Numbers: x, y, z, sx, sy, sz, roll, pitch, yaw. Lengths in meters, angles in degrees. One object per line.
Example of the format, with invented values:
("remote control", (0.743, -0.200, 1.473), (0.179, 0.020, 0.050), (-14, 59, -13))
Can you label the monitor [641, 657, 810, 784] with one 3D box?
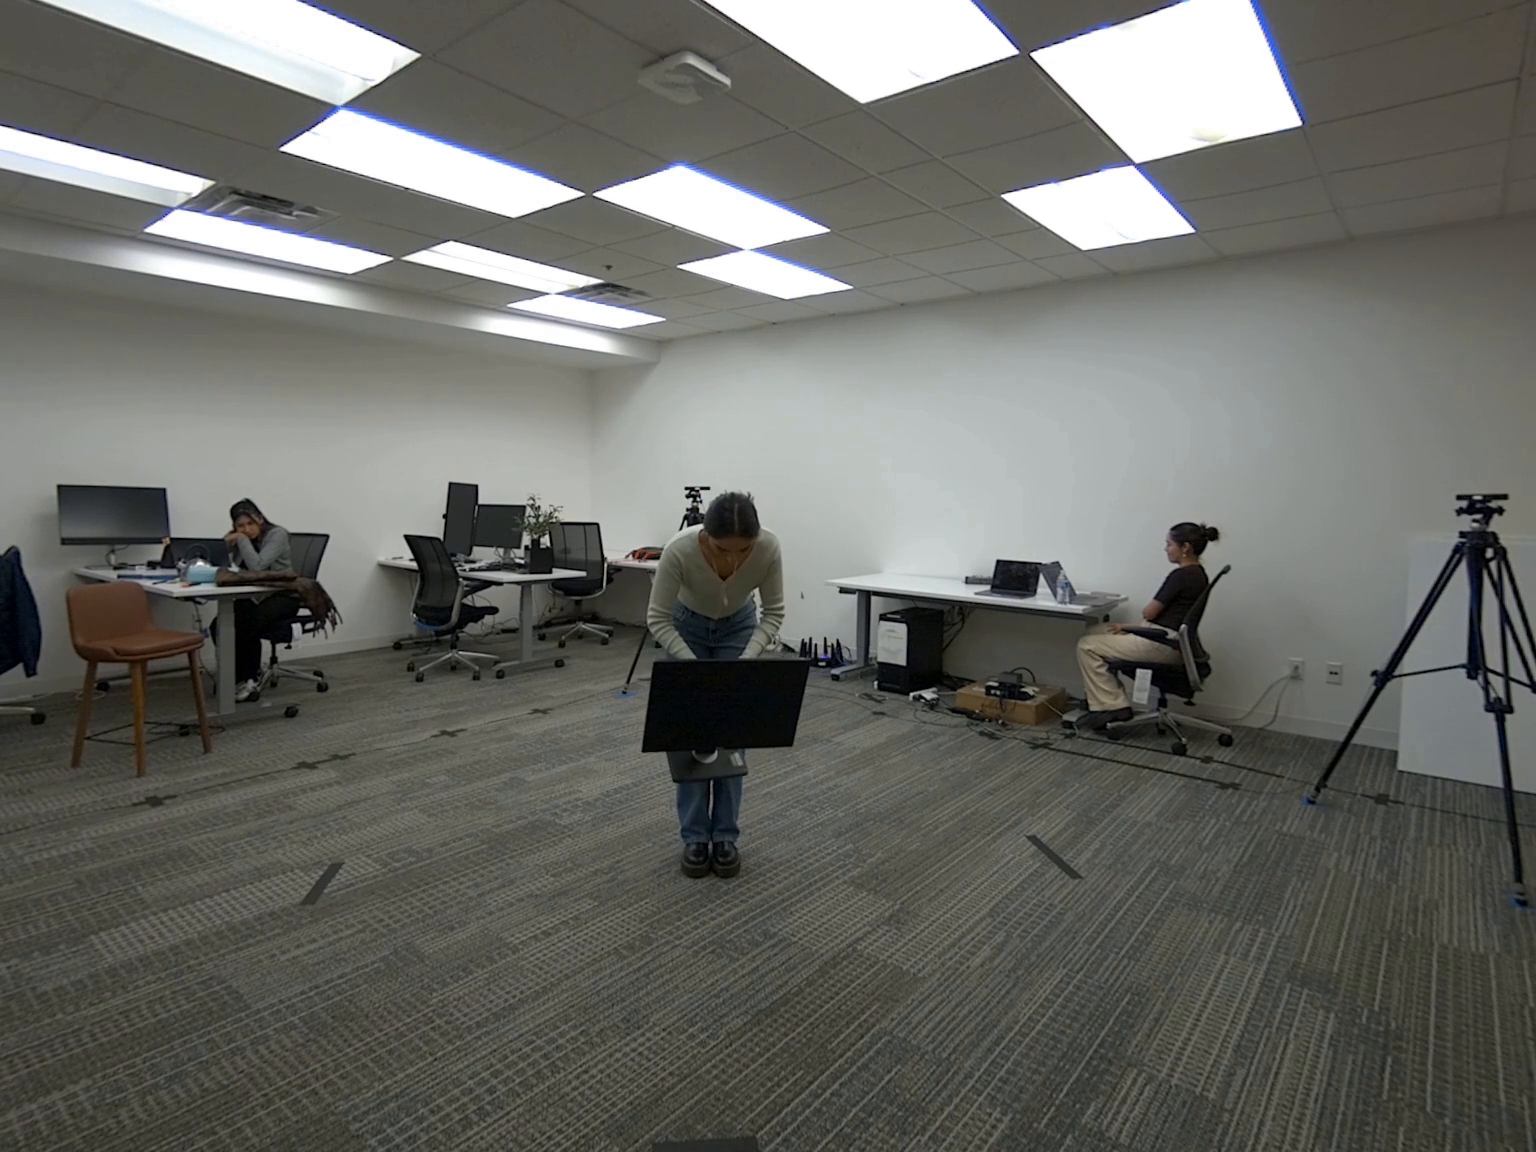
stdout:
("monitor", (-0.183, 0.482, 2.900), (0.520, 0.506, 0.181), (0, 42, -19))
